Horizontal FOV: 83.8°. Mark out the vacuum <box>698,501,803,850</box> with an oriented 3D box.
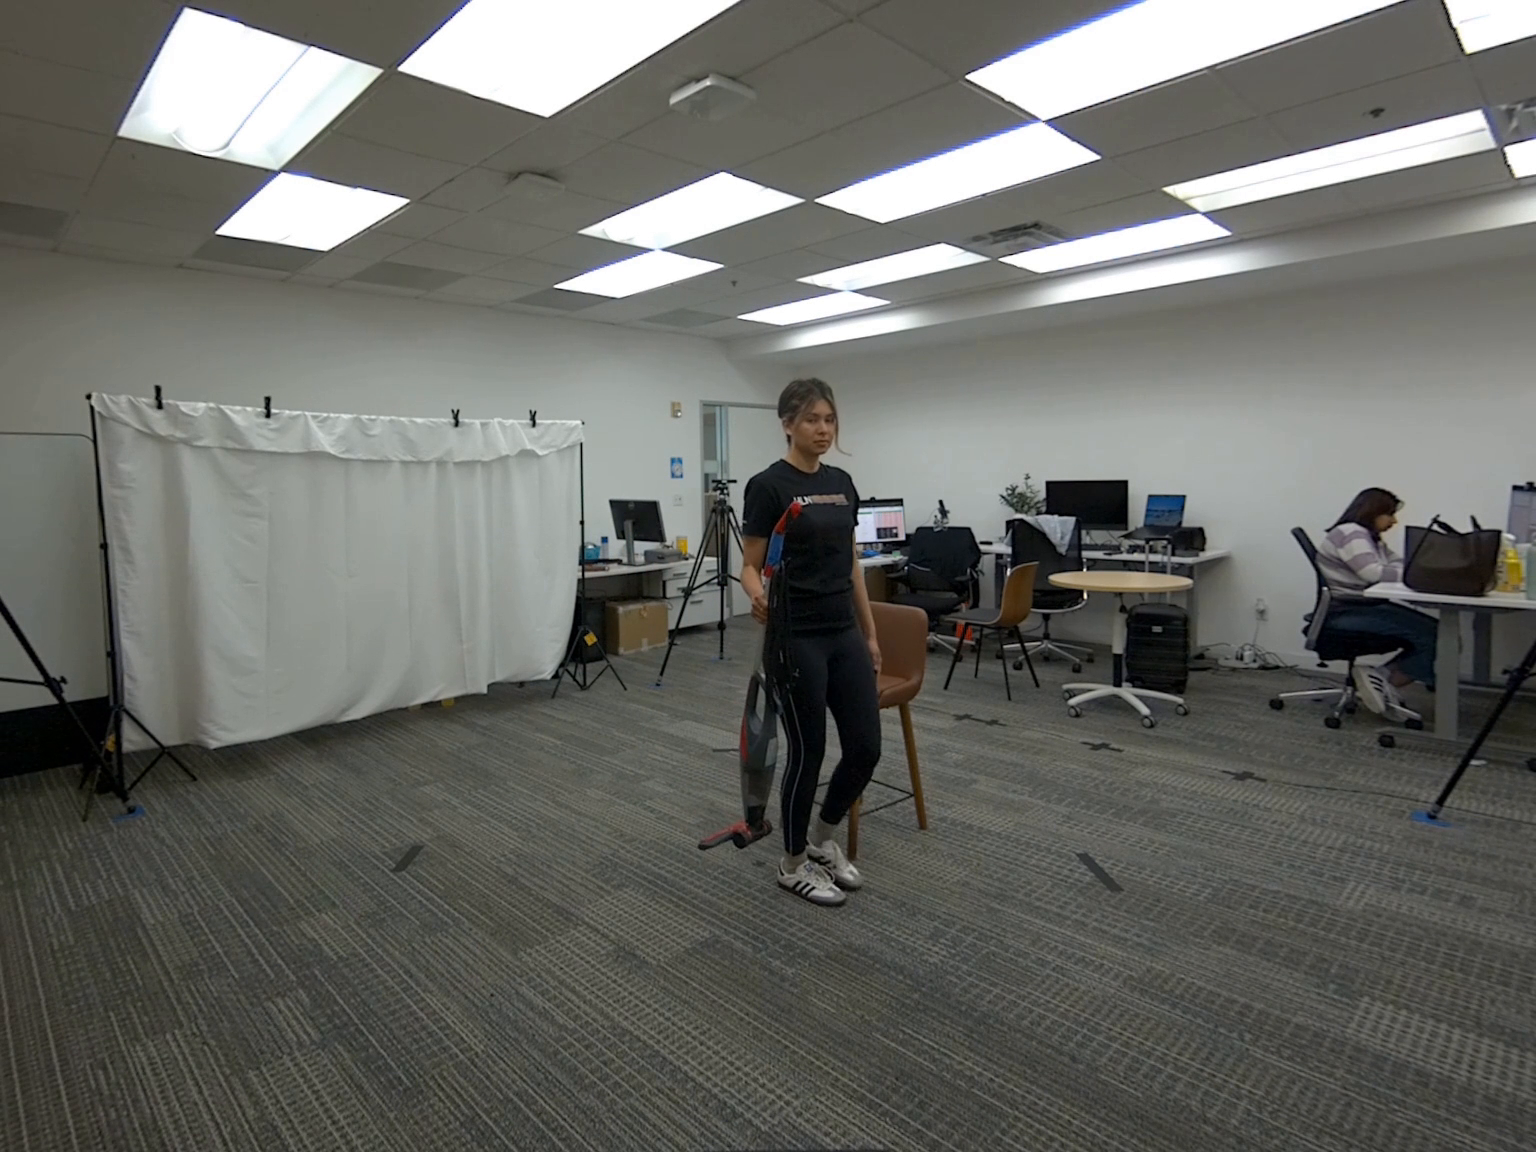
[{"bbox_3d":[-0.004,0.309,2.489,0.149,1.038,0.246,20,17,38],"label":"vacuum"}]
